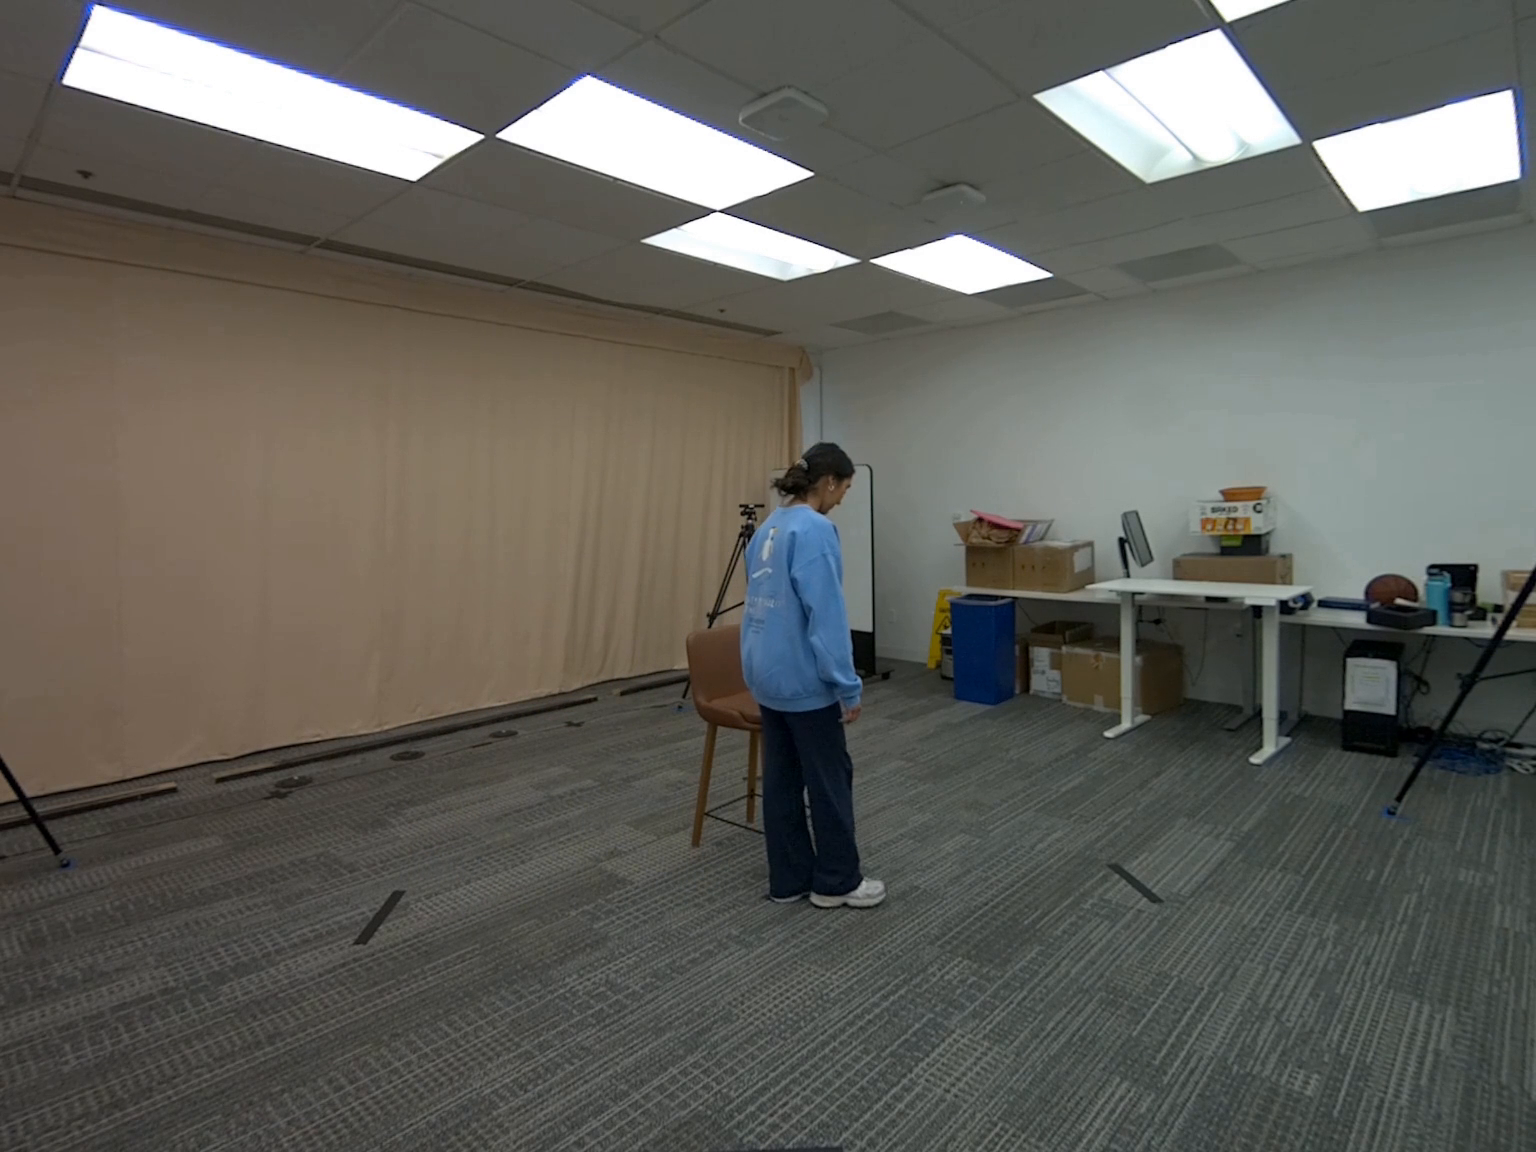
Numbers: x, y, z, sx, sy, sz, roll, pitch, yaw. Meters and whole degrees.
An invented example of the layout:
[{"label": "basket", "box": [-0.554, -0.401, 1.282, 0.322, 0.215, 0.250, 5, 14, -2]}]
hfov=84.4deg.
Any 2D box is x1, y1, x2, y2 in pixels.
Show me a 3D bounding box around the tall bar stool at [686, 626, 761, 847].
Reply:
[{"label": "tall bar stool", "box": [-0.038, 0.665, 3.414, 0.482, 0.889, 0.443, -1, 2, 41]}]
